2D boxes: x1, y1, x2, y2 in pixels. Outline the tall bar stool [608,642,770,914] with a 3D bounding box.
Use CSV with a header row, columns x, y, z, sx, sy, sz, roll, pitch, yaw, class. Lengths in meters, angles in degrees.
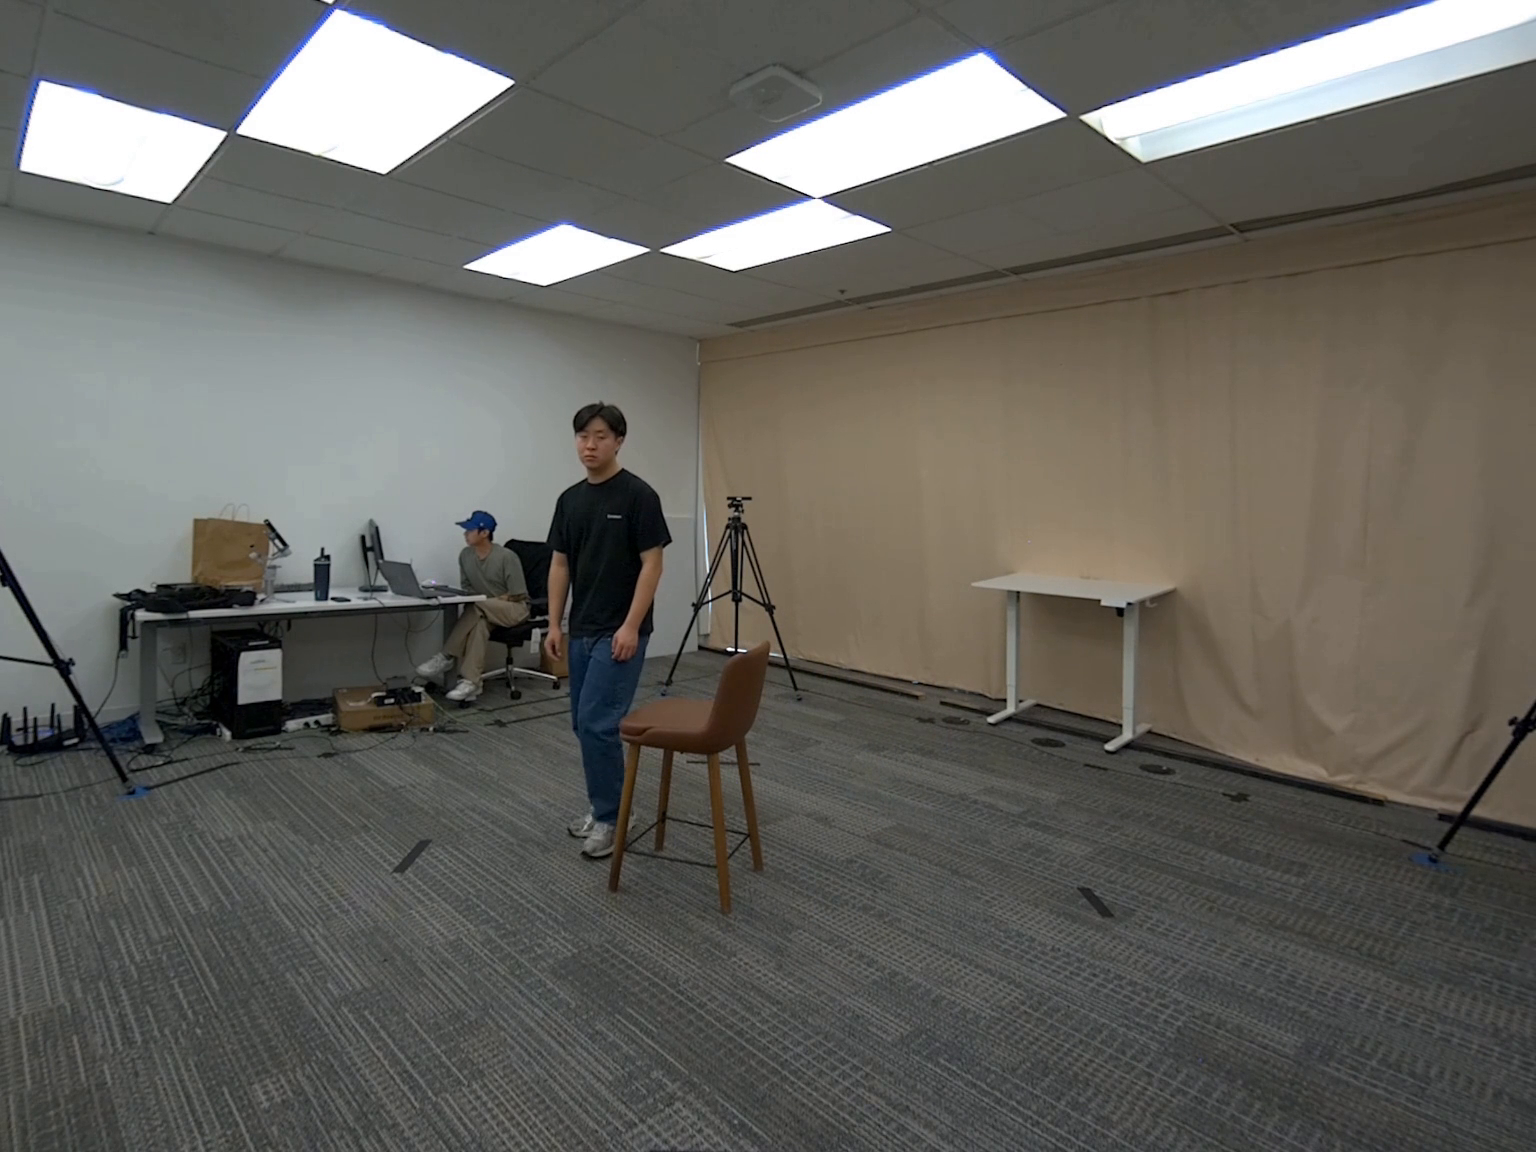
x,y,z,sx,sy,sz,roll,pitch,yaw,class
-0.275,0.675,3.041,0.476,0.887,0.450,4,5,21,tall bar stool
